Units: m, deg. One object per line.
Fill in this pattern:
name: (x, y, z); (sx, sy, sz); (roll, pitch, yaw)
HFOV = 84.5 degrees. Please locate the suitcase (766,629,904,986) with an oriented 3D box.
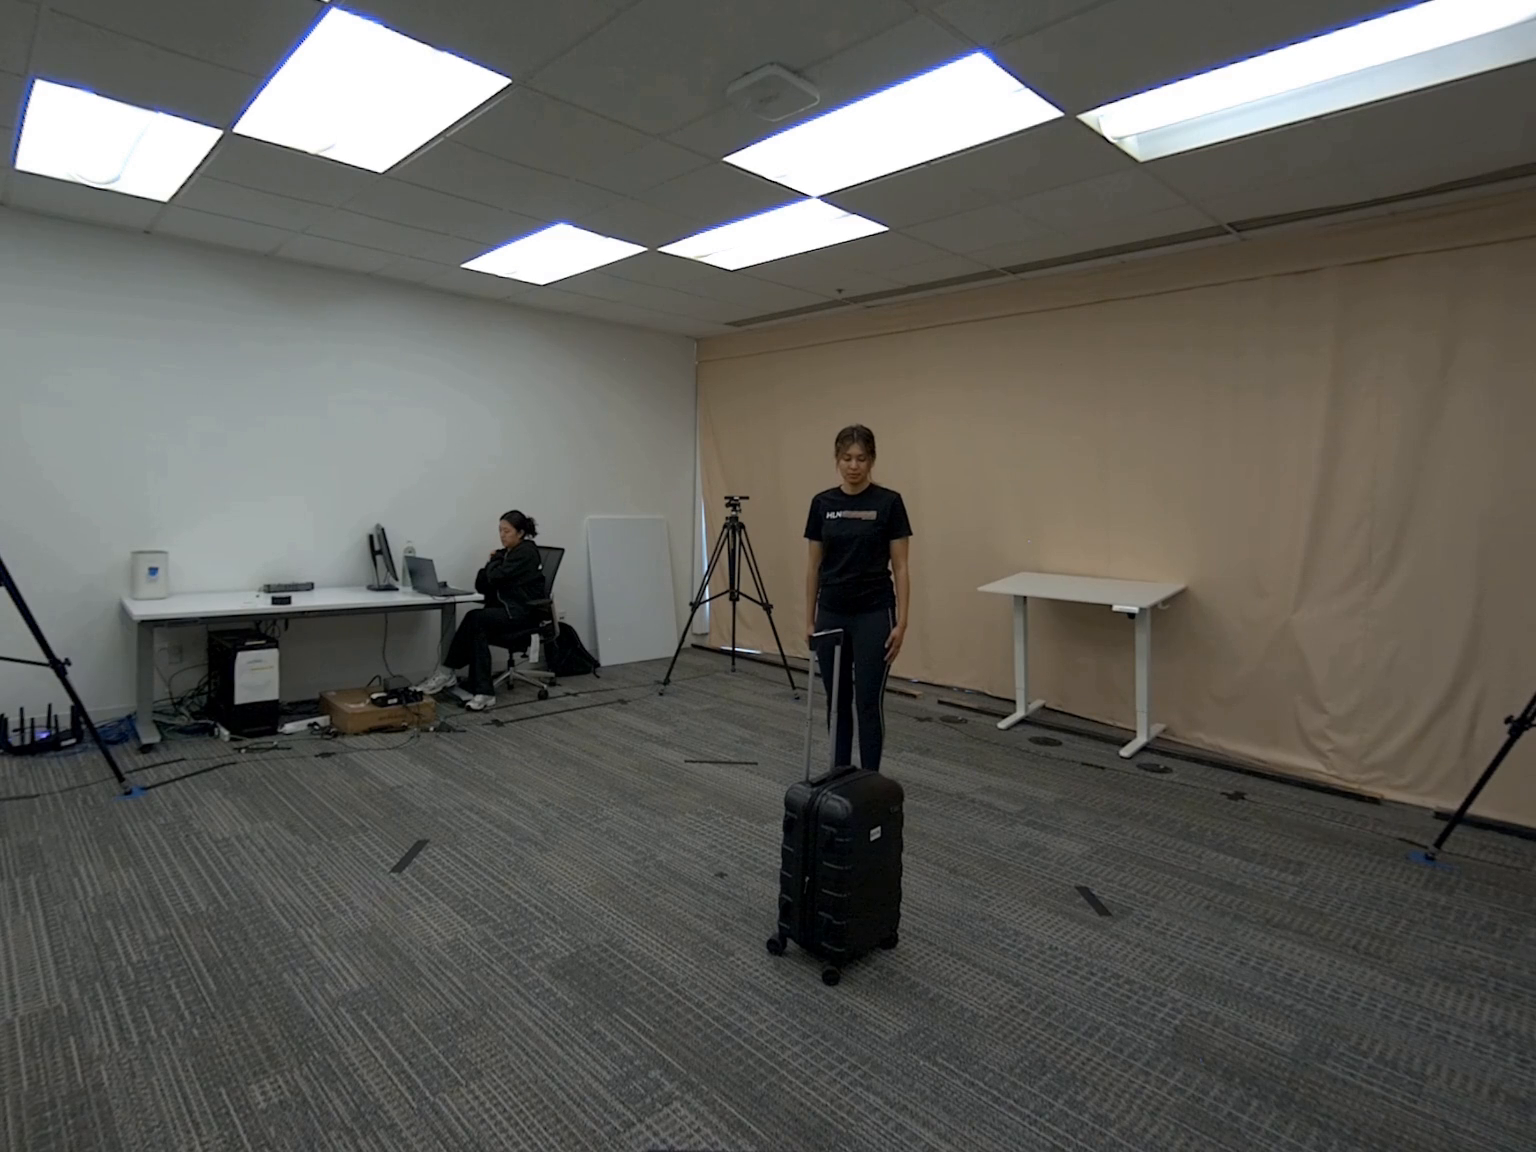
suitcase: (0.241, 0.688, 2.571); (0.264, 0.975, 0.375); (9, 6, 42)
